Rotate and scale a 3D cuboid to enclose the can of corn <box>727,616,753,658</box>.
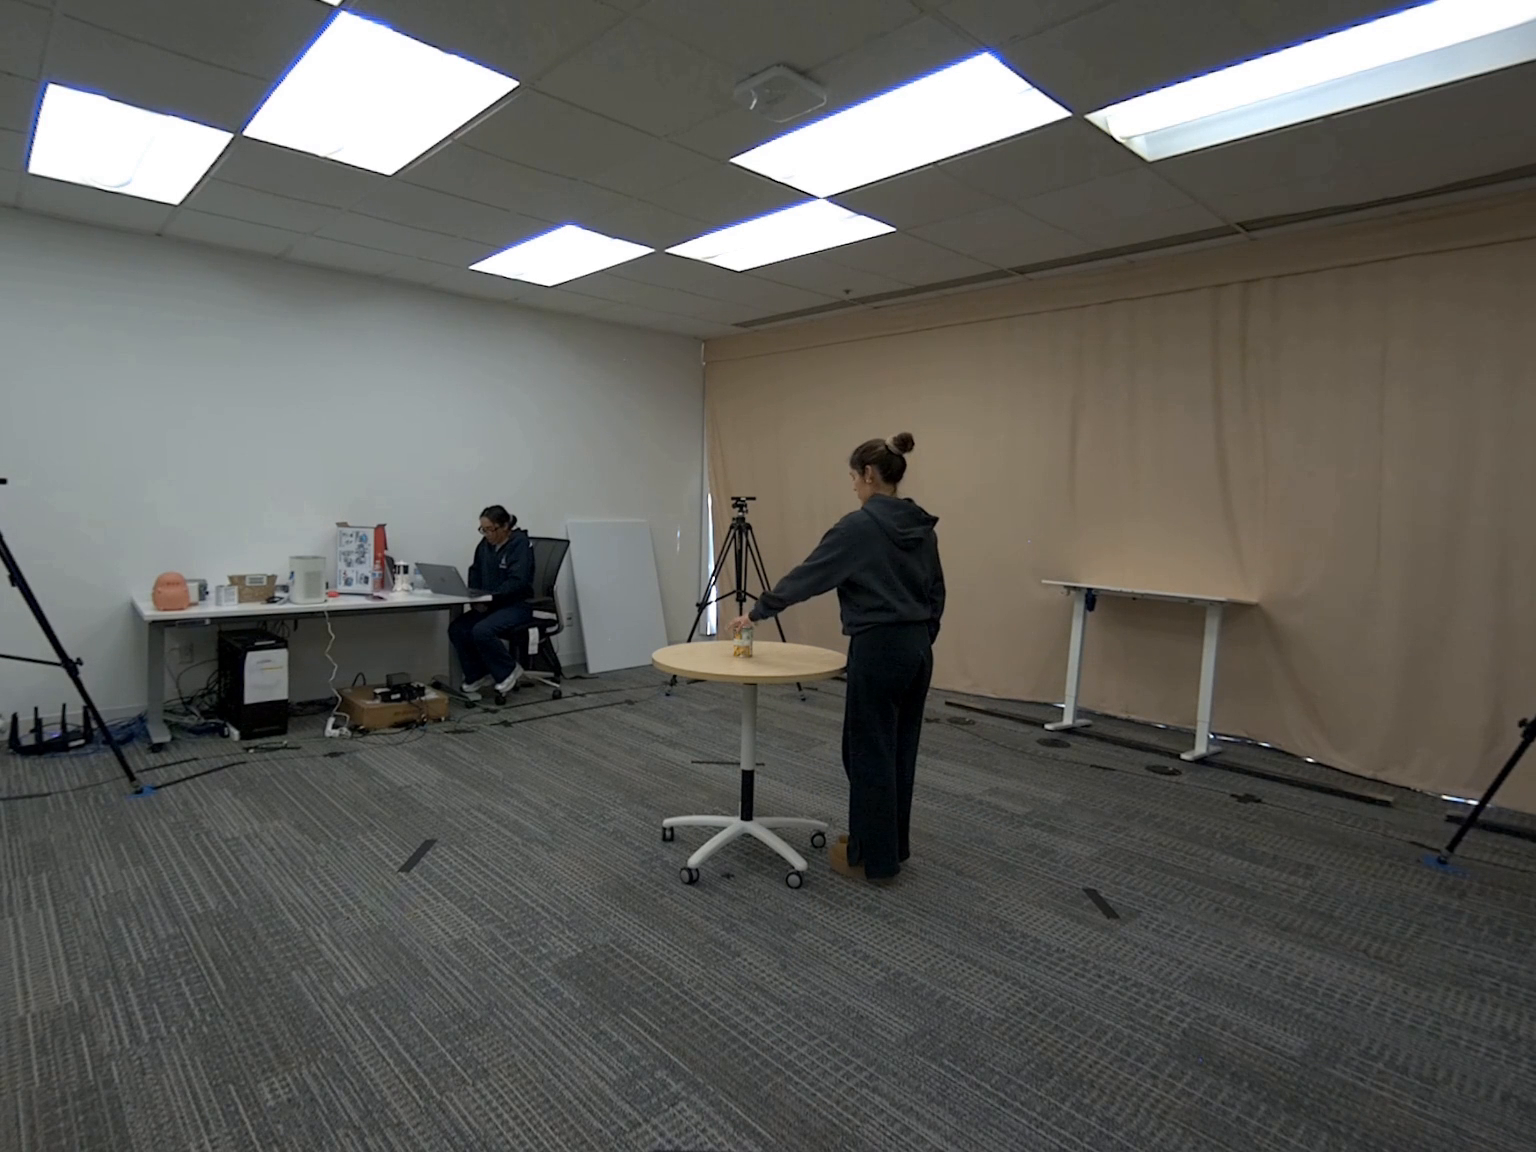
[{"bbox_3d":[-0.099,0.249,3.275,0.074,0.110,0.074,1,7,-2],"label":"can of corn"}]
